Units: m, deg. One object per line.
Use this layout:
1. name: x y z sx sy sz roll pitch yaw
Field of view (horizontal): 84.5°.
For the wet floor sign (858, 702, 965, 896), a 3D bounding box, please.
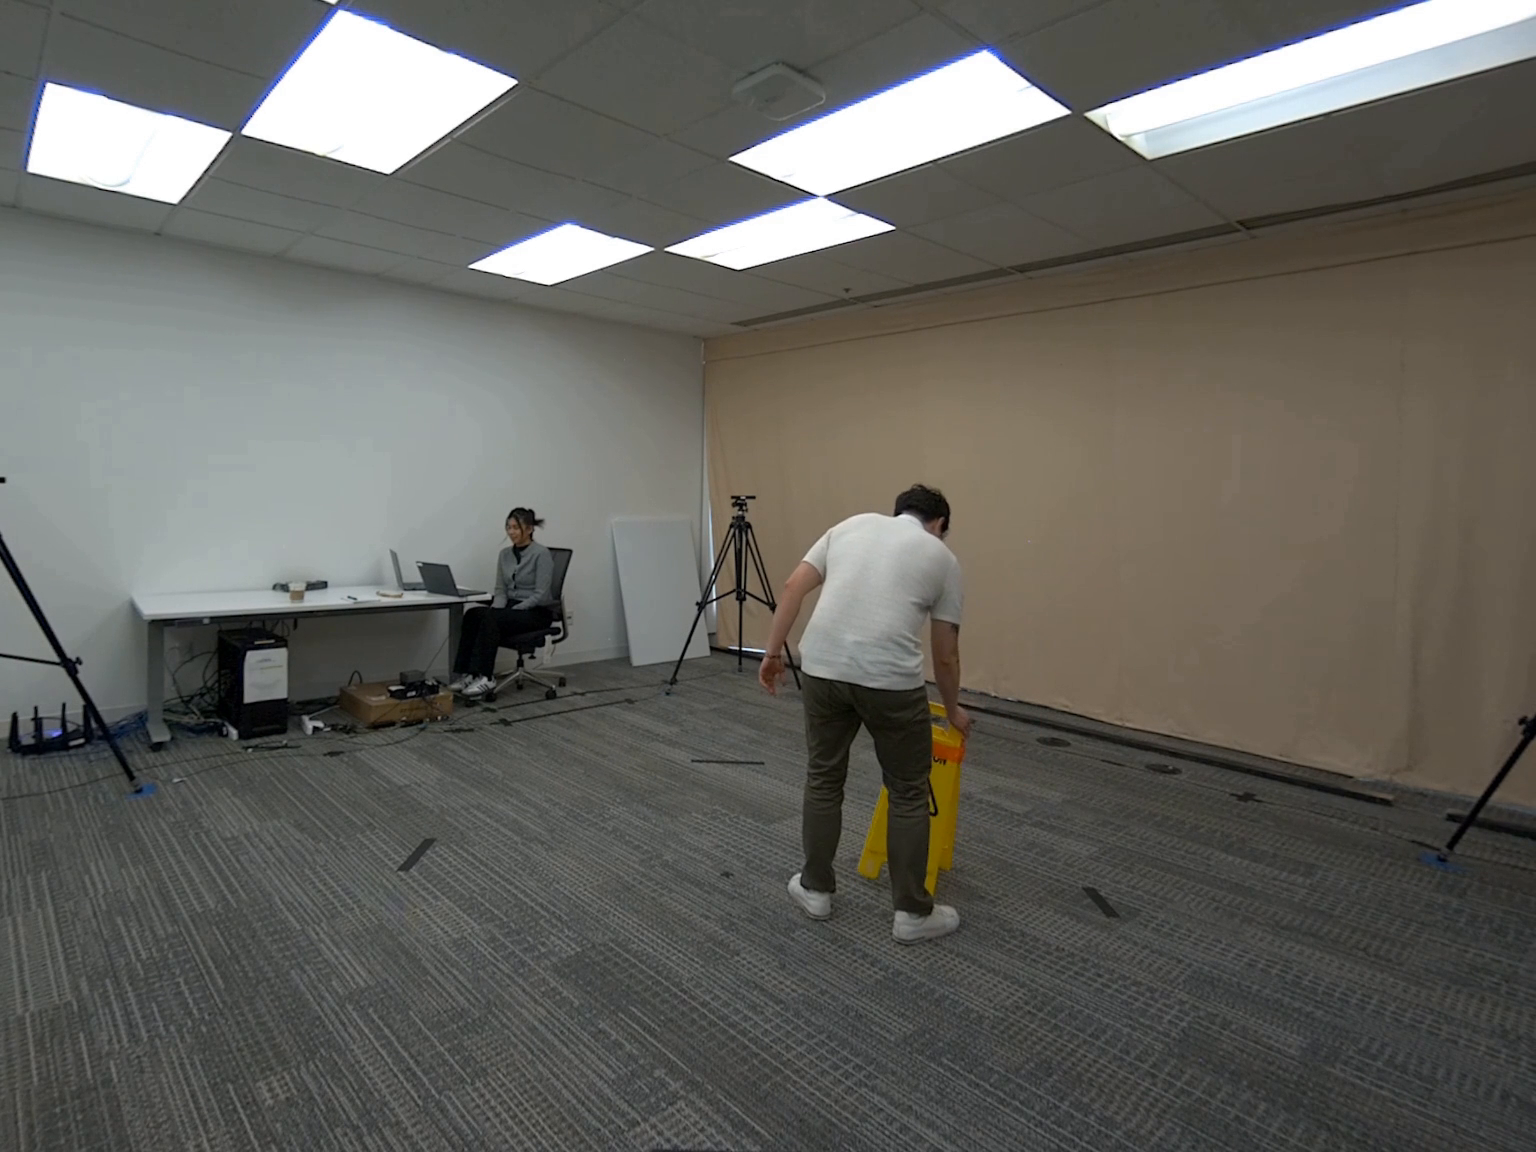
1. wet floor sign: 0.559 0.785 3.090 0.288 0.643 0.284 13 7 24
